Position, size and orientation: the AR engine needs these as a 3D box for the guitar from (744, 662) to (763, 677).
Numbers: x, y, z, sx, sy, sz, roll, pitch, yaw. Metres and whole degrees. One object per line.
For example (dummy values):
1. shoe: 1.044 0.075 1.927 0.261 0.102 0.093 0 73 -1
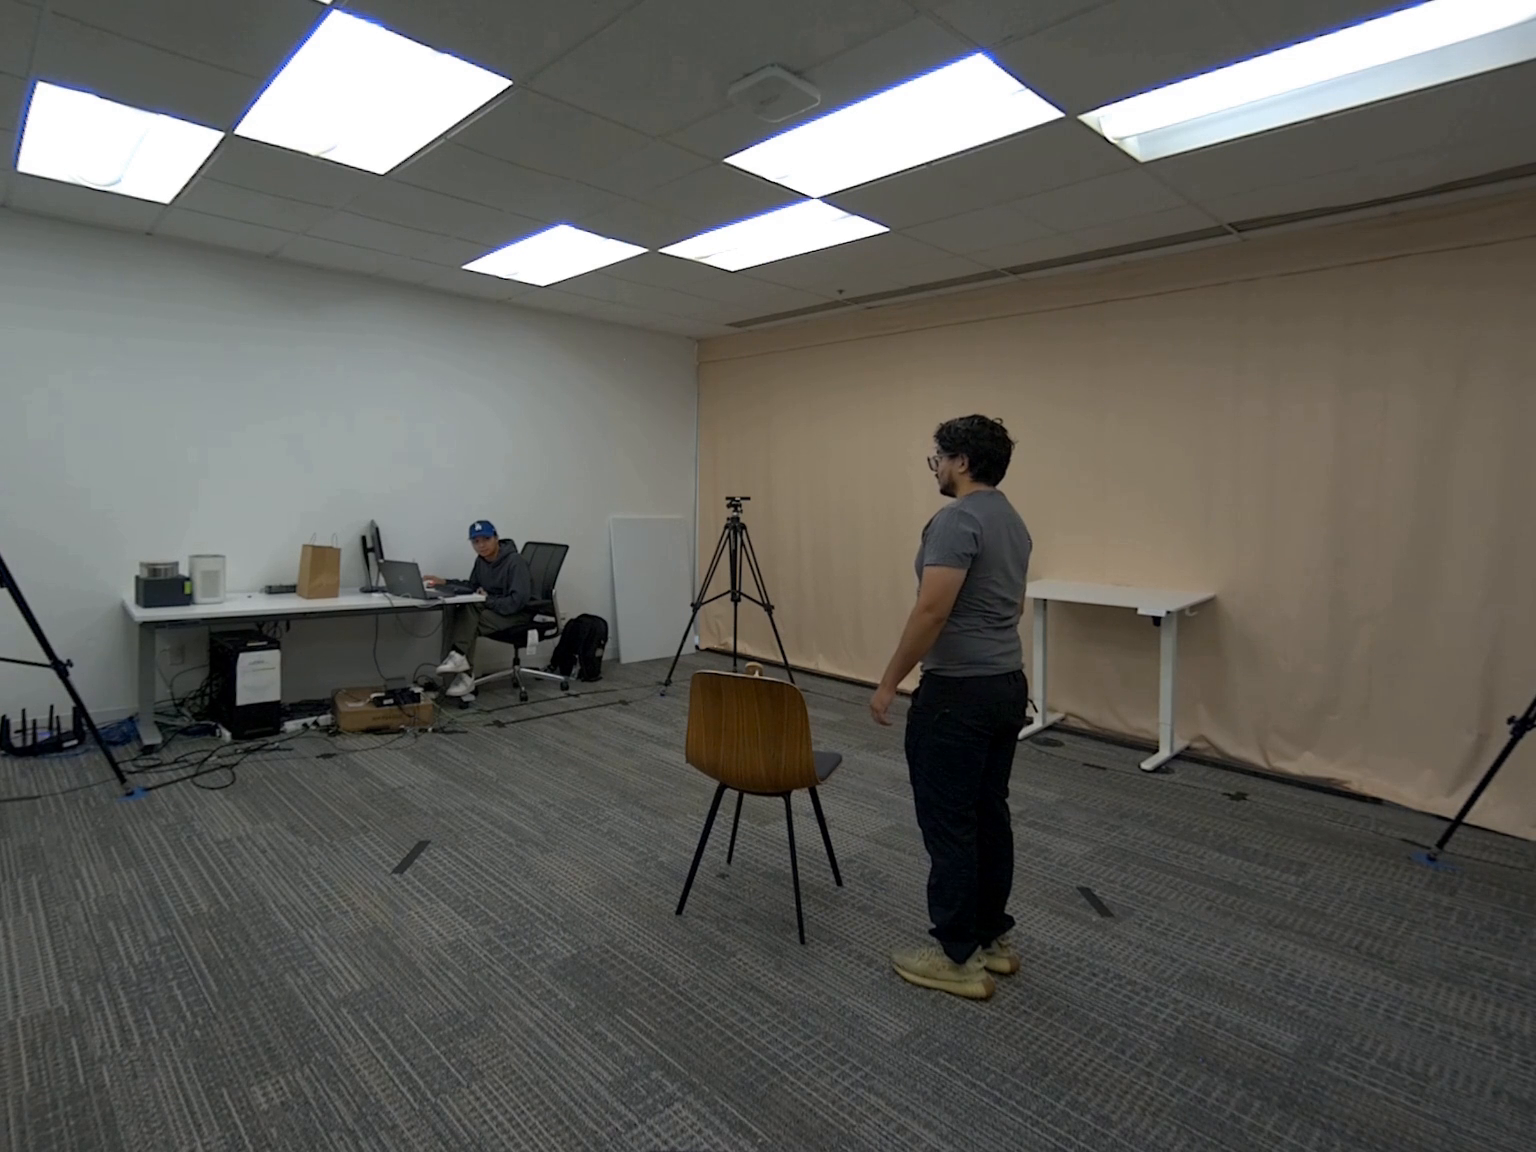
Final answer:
1. guitar: -0.064 0.460 2.781 0.195 0.485 0.072 2 46 13
